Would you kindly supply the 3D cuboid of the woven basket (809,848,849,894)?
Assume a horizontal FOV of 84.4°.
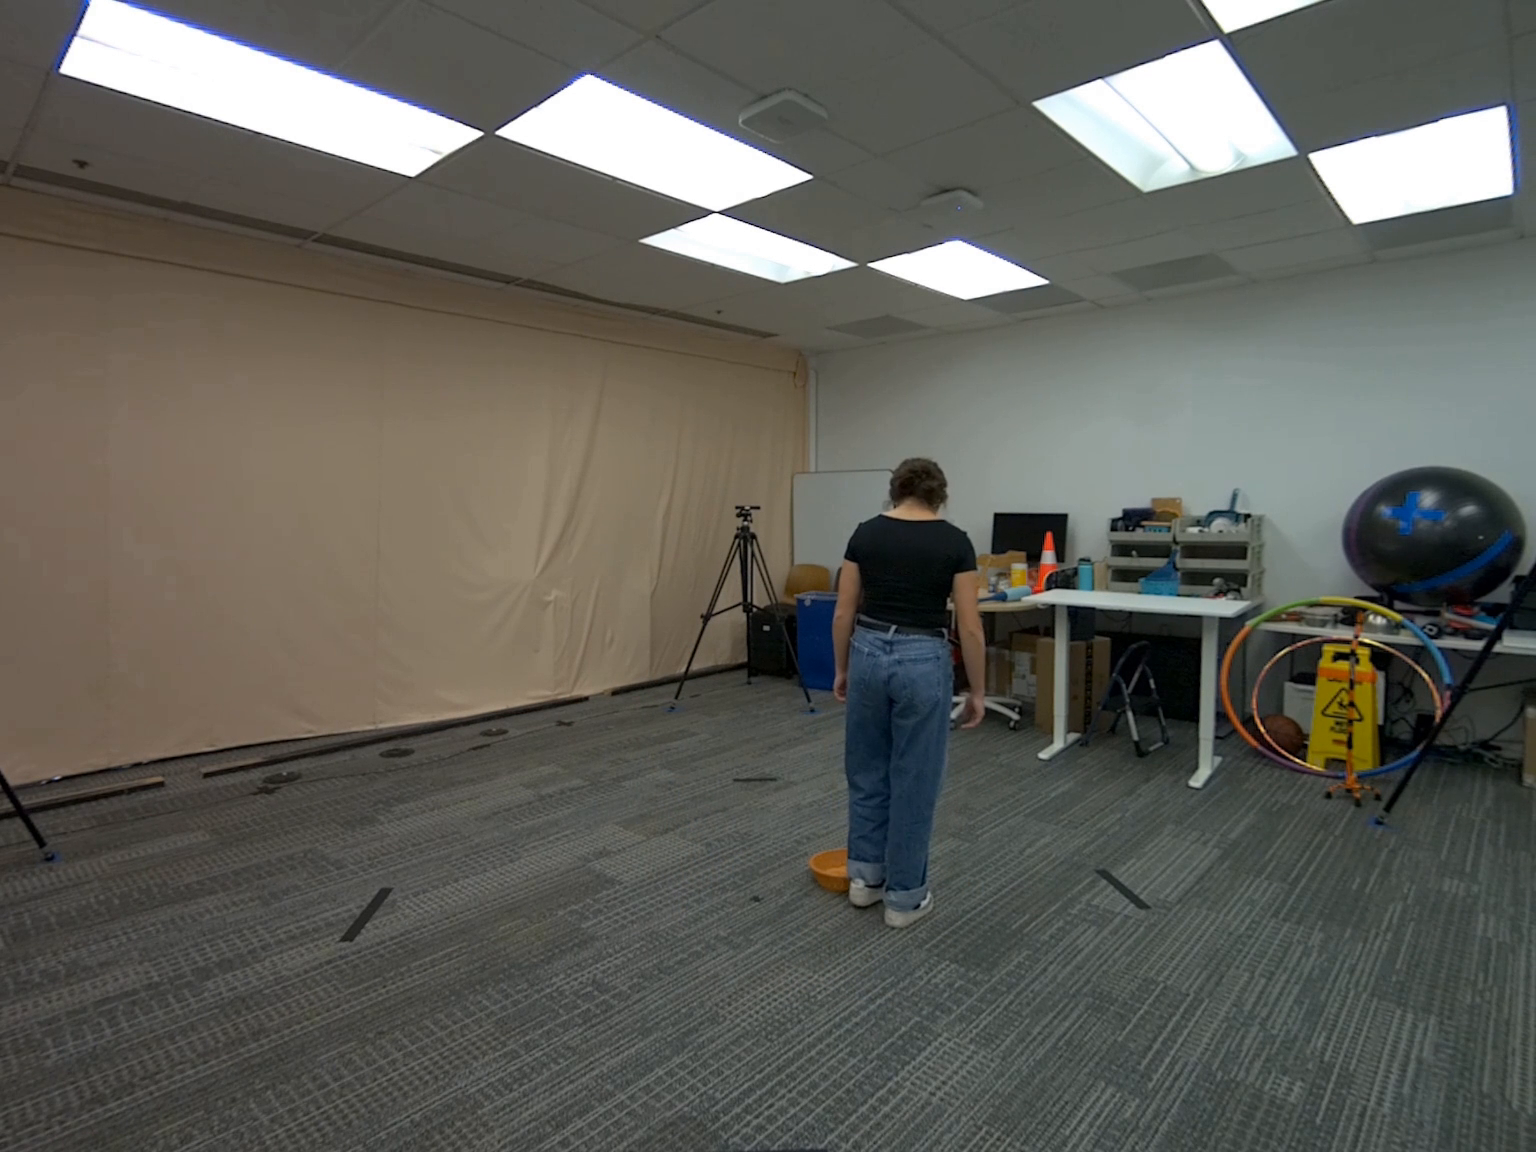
[{"bbox_3d":[0.321,1.091,3.138,0.345,0.073,0.257,-2,3,-15],"label":"woven basket"}]
